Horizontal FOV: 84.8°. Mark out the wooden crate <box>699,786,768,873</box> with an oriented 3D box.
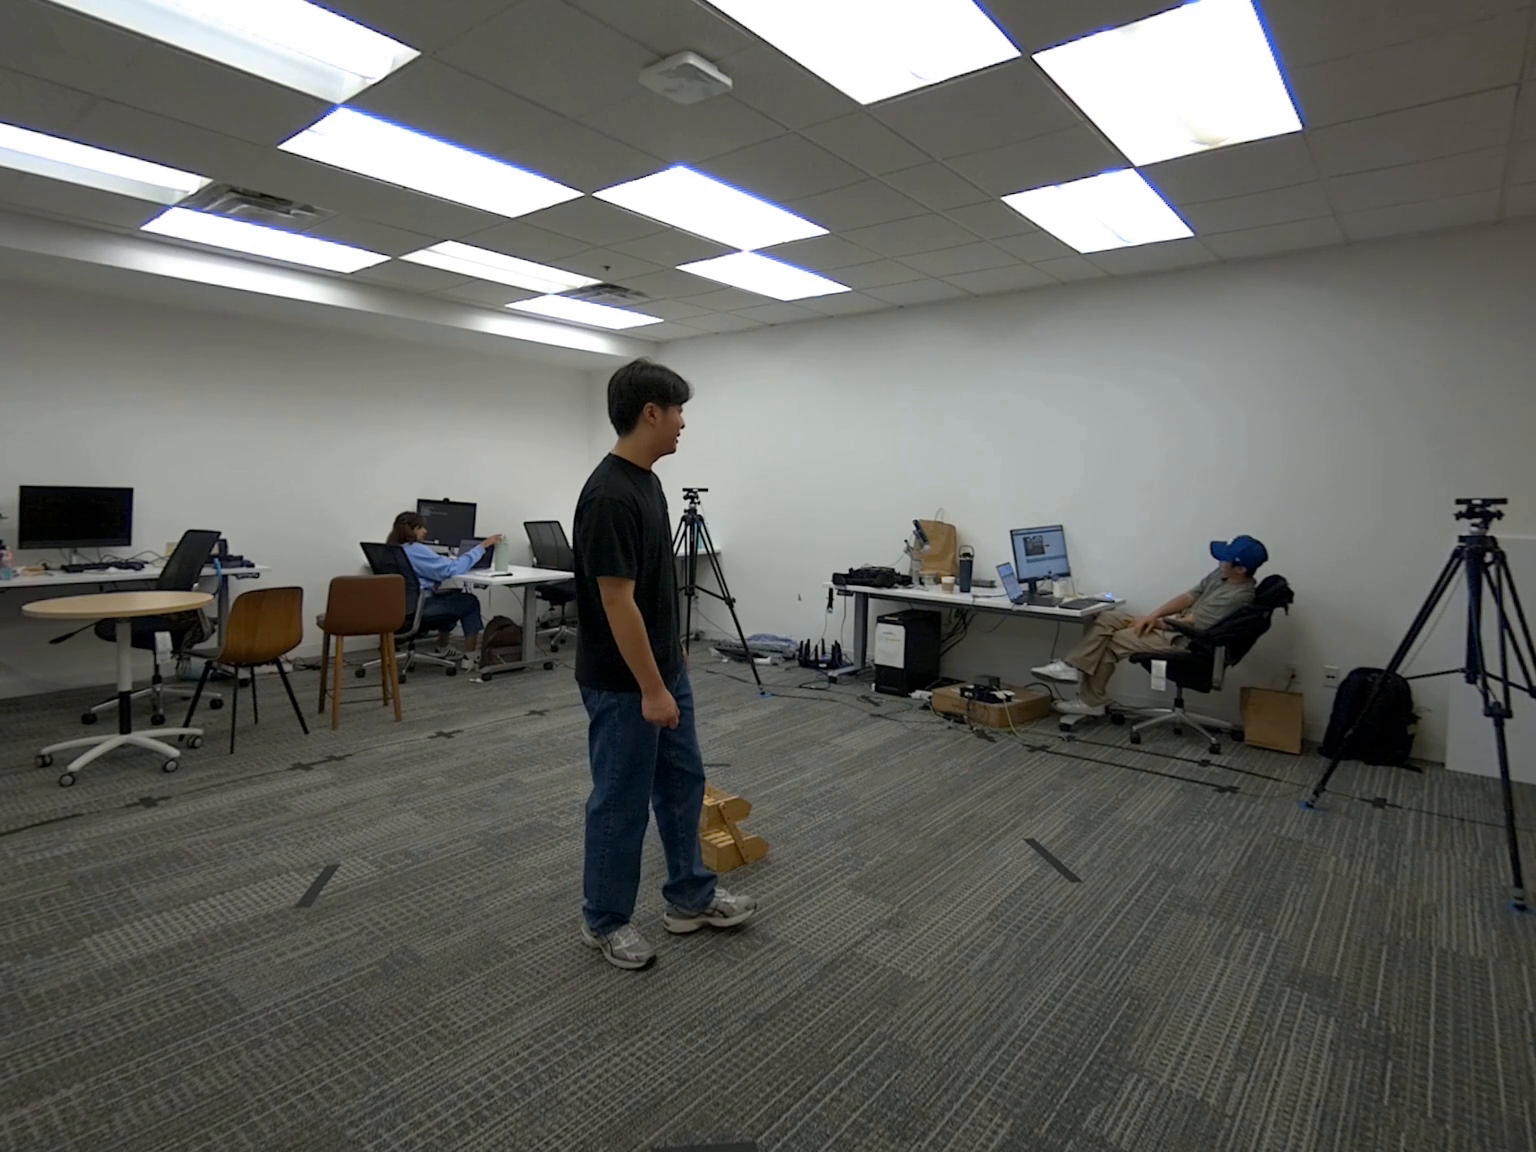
[{"bbox_3d":[-0.213,0.921,3.255,0.293,0.272,0.335,-4,6,-41],"label":"wooden crate"}]
